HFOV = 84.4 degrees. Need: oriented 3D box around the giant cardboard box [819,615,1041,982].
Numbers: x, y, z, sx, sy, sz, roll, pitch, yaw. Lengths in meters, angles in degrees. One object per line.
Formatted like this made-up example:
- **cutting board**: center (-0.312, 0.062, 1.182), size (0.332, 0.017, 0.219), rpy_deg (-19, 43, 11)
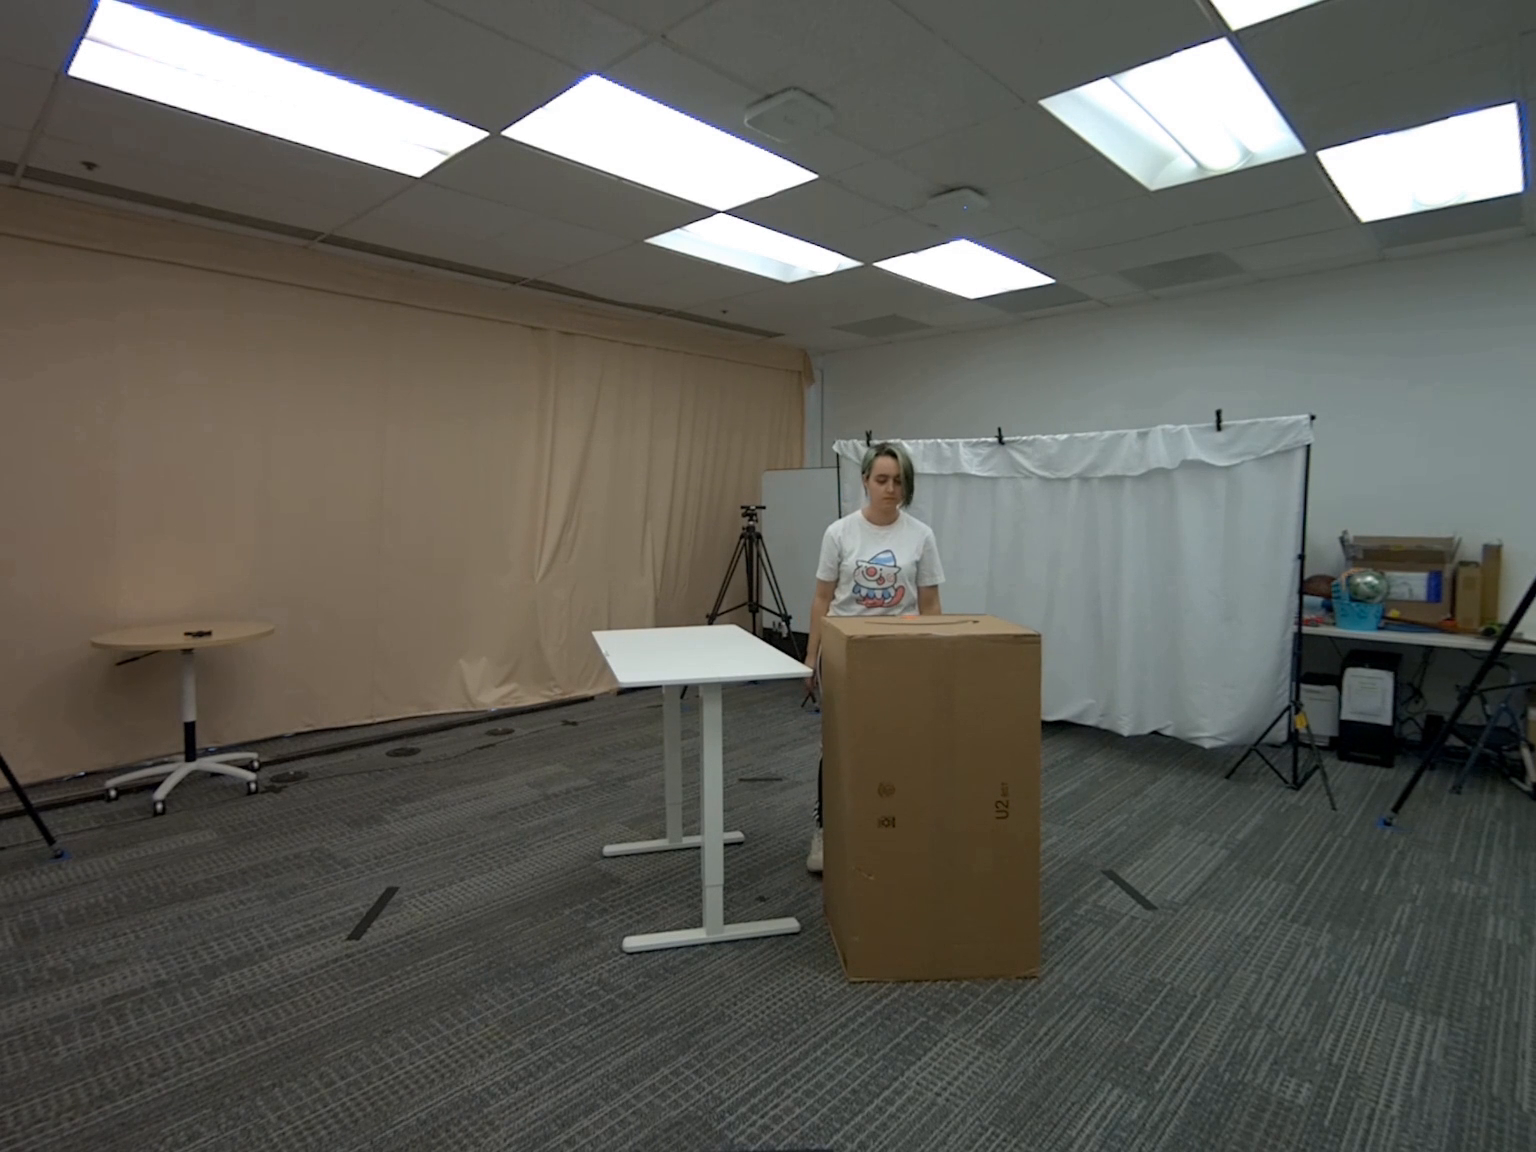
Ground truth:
- **giant cardboard box**: center (0.490, 0.662, 2.650), size (0.582, 1.024, 0.450), rpy_deg (-1, 4, -4)
